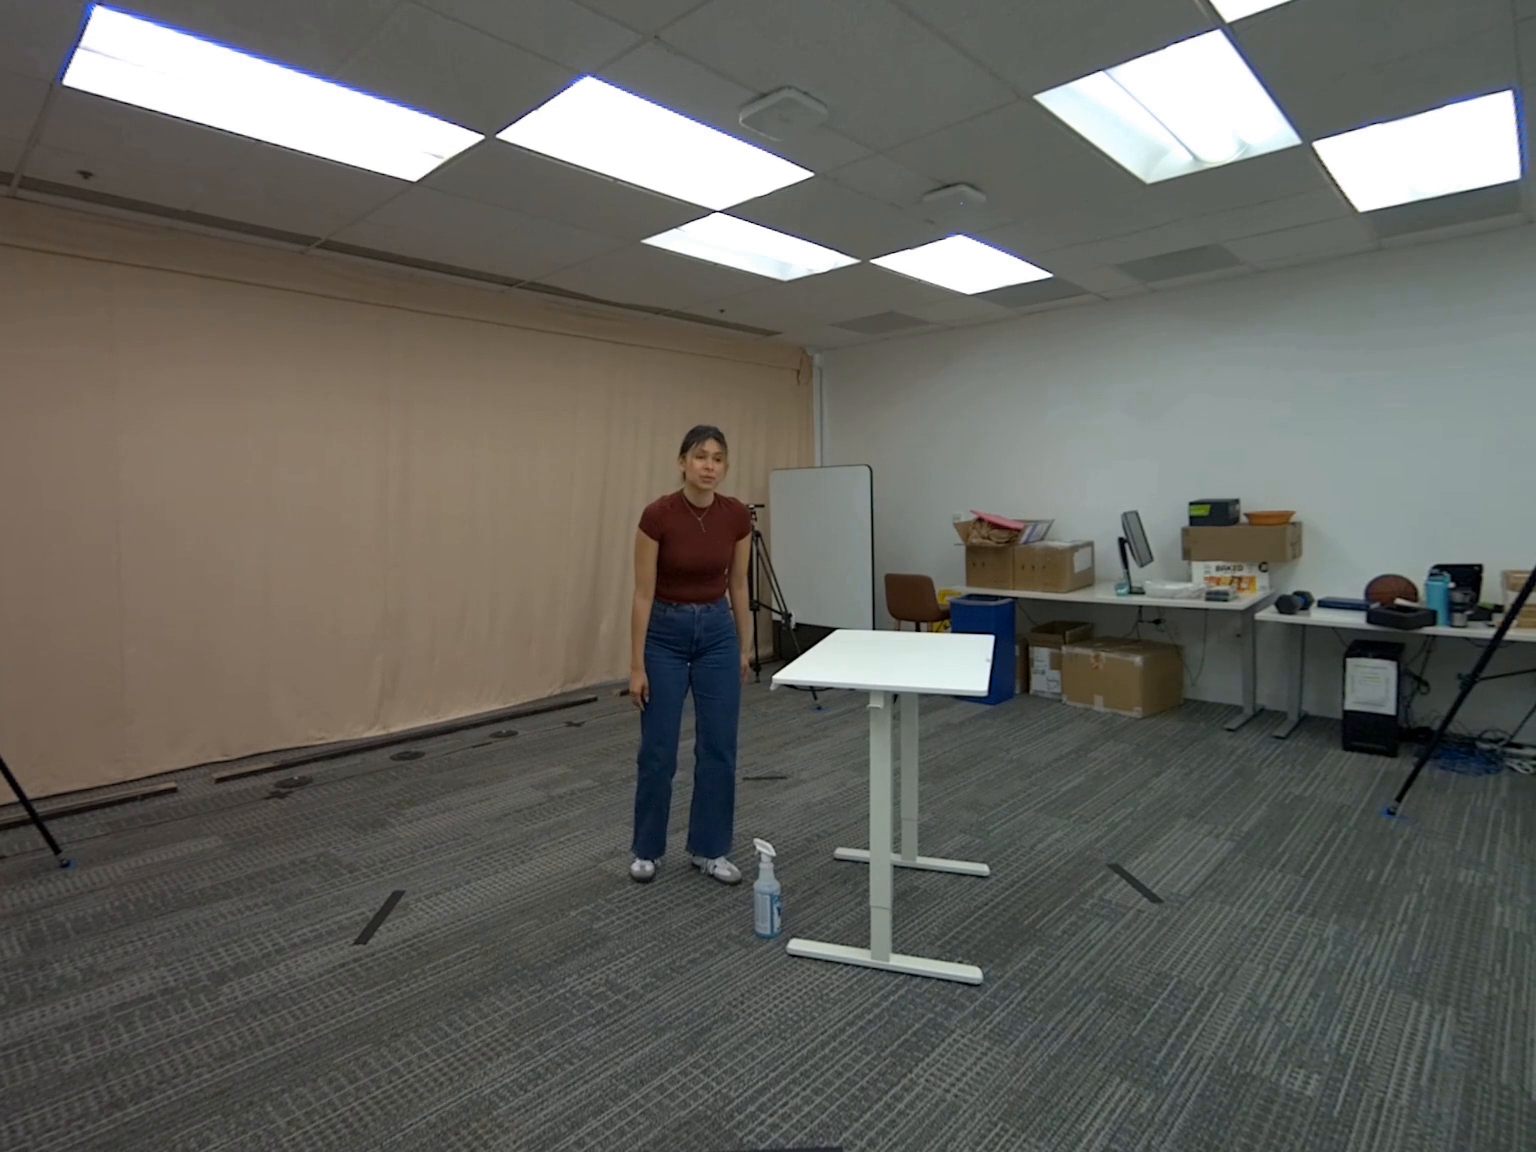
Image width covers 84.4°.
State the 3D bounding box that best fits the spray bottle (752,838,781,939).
[{"bbox_3d":[-0.001,1.012,2.737,0.085,0.297,0.091,-2,2,-16],"label":"spray bottle"}]
